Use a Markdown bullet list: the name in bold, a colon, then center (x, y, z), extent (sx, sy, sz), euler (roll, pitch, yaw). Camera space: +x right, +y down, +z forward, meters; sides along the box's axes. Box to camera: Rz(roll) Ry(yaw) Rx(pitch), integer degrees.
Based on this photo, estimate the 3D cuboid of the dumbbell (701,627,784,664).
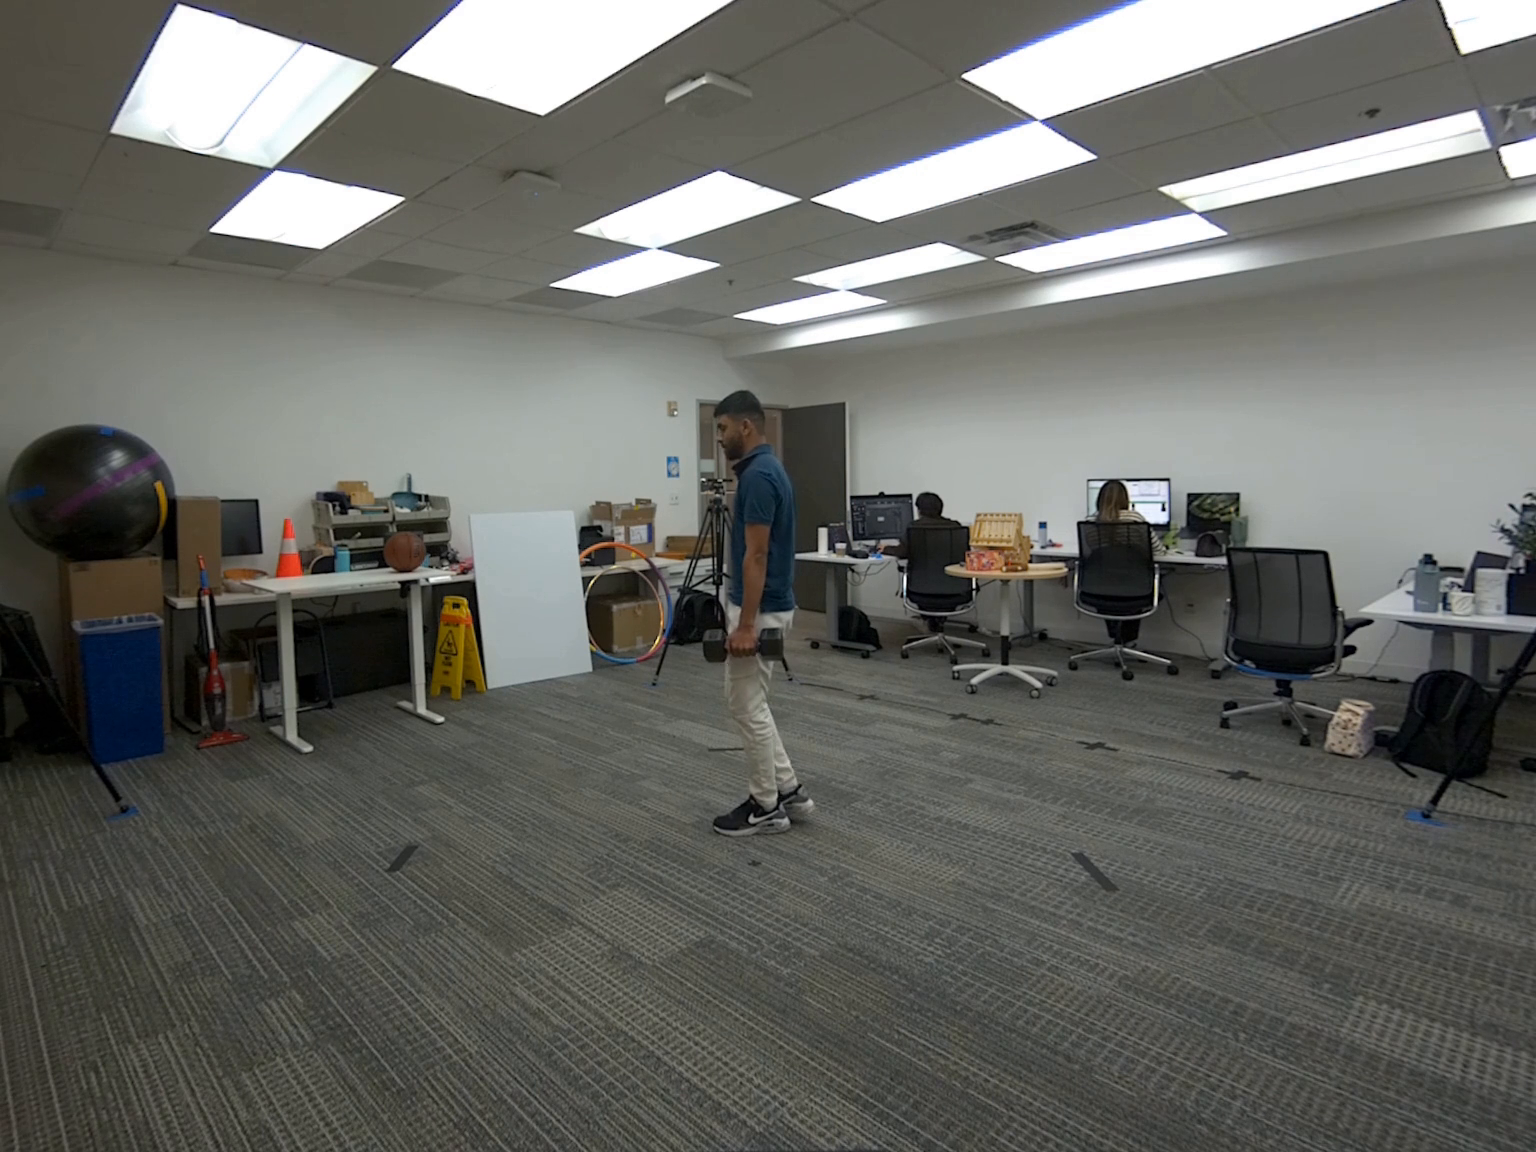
- **dumbbell**: center (-0.096, 0.248, 3.182), extent (0.295, 0.123, 0.108), euler (-5, -2, 7)
